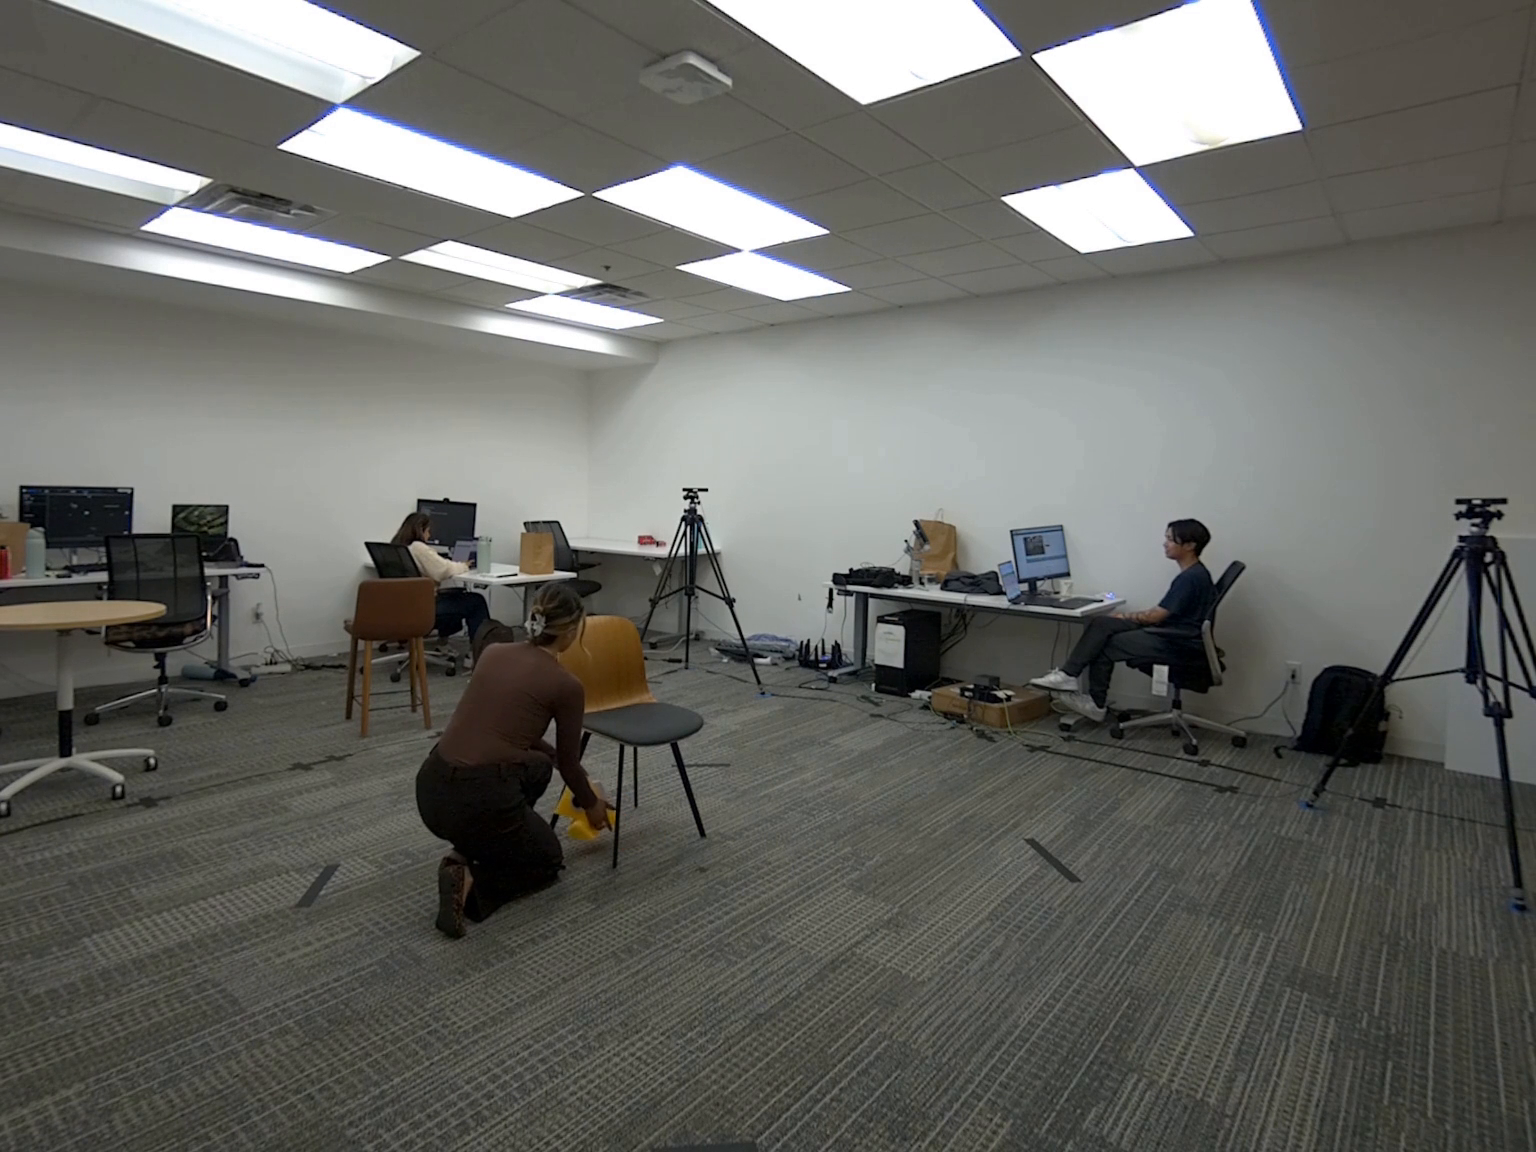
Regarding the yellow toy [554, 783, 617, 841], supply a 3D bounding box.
[{"bbox_3d":[-0.703,0.858,3.282,0.199,0.229,0.200,-1,7,39],"label":"yellow toy"}]
